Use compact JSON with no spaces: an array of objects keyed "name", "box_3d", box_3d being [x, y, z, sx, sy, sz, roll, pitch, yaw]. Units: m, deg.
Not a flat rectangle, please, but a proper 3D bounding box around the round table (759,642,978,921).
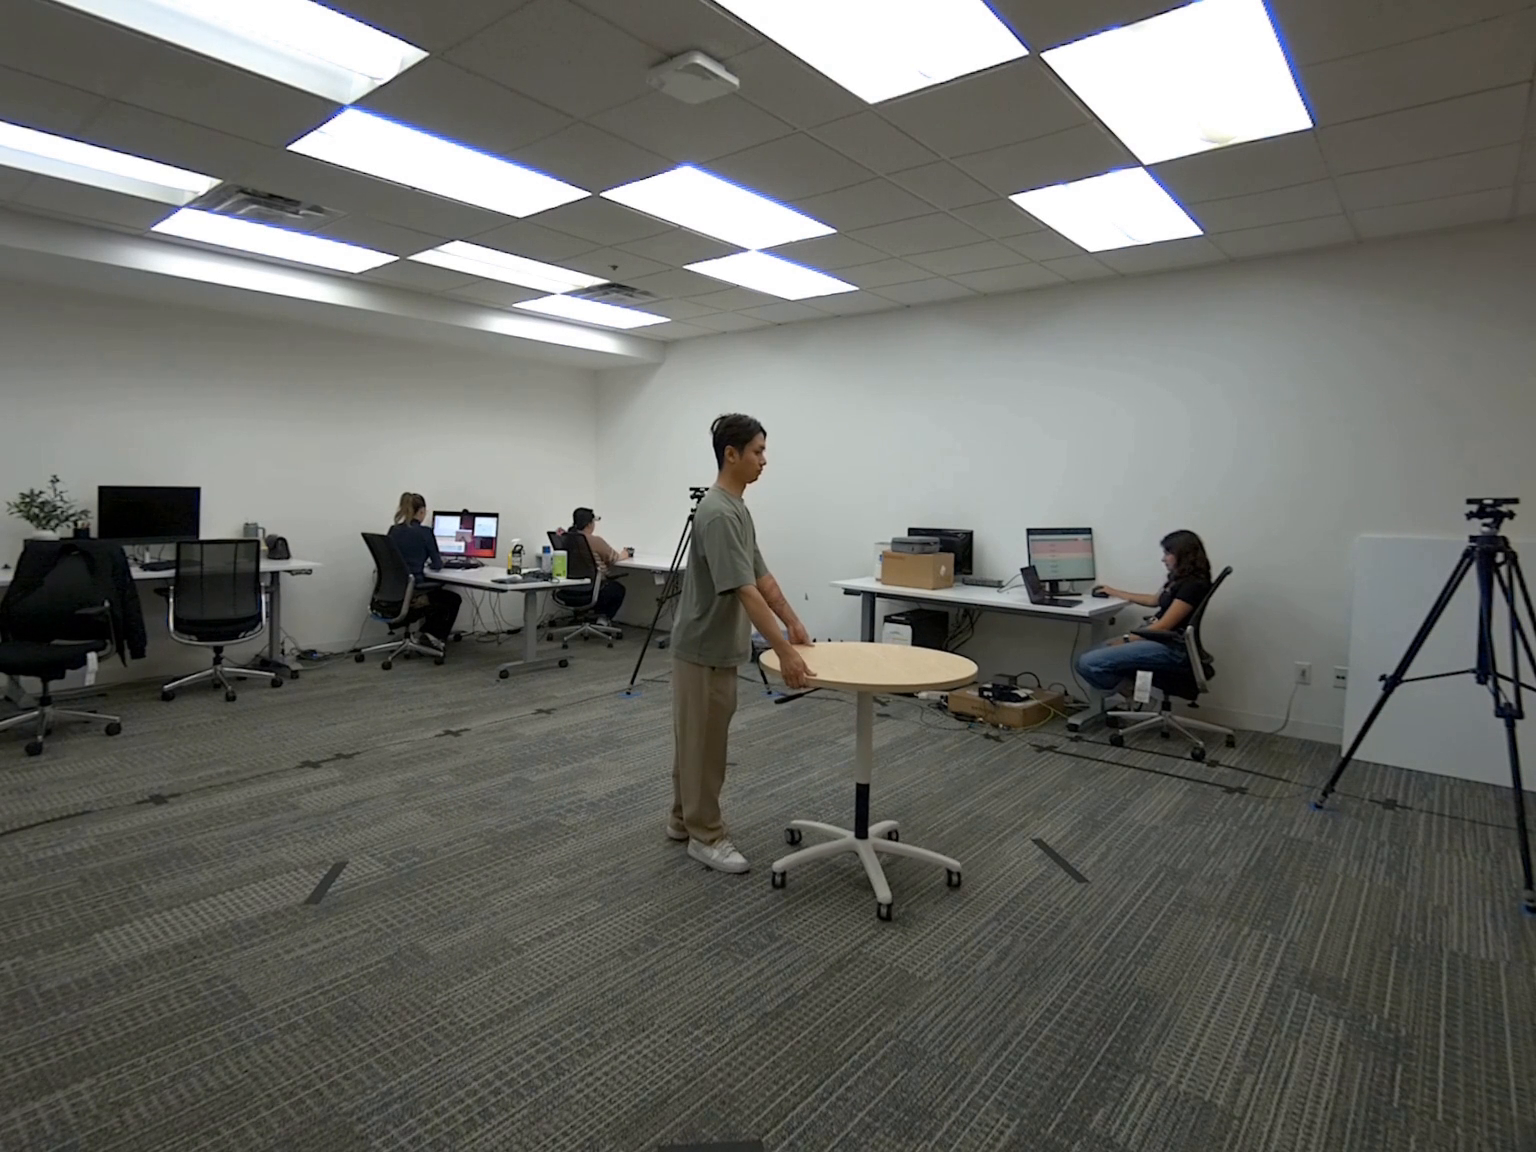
[{"name":"round table","box_3d":[0.348,0.691,3.063,0.784,0.783,0.789,1,5,-2]}]
